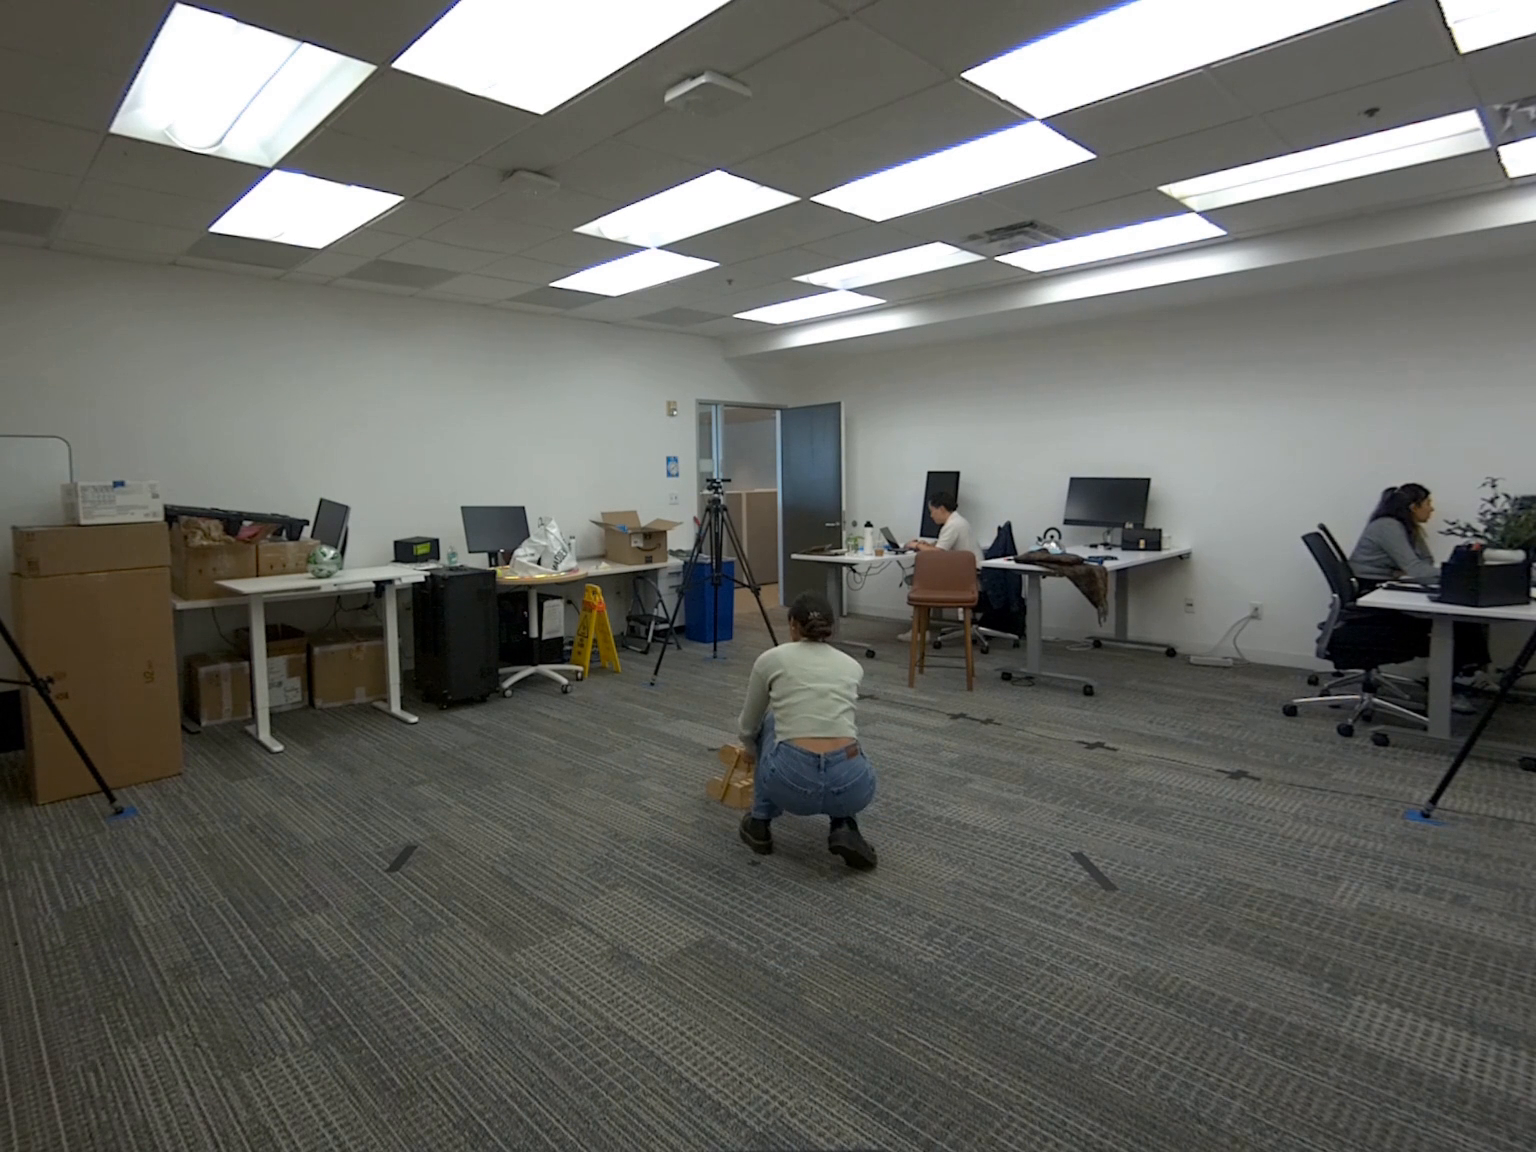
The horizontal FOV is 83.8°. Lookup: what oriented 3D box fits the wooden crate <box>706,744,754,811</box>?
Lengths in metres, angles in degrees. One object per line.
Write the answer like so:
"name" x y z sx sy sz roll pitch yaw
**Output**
"wooden crate" -0.074 0.838 3.783 0.316 0.272 0.311 -6 7 -41
